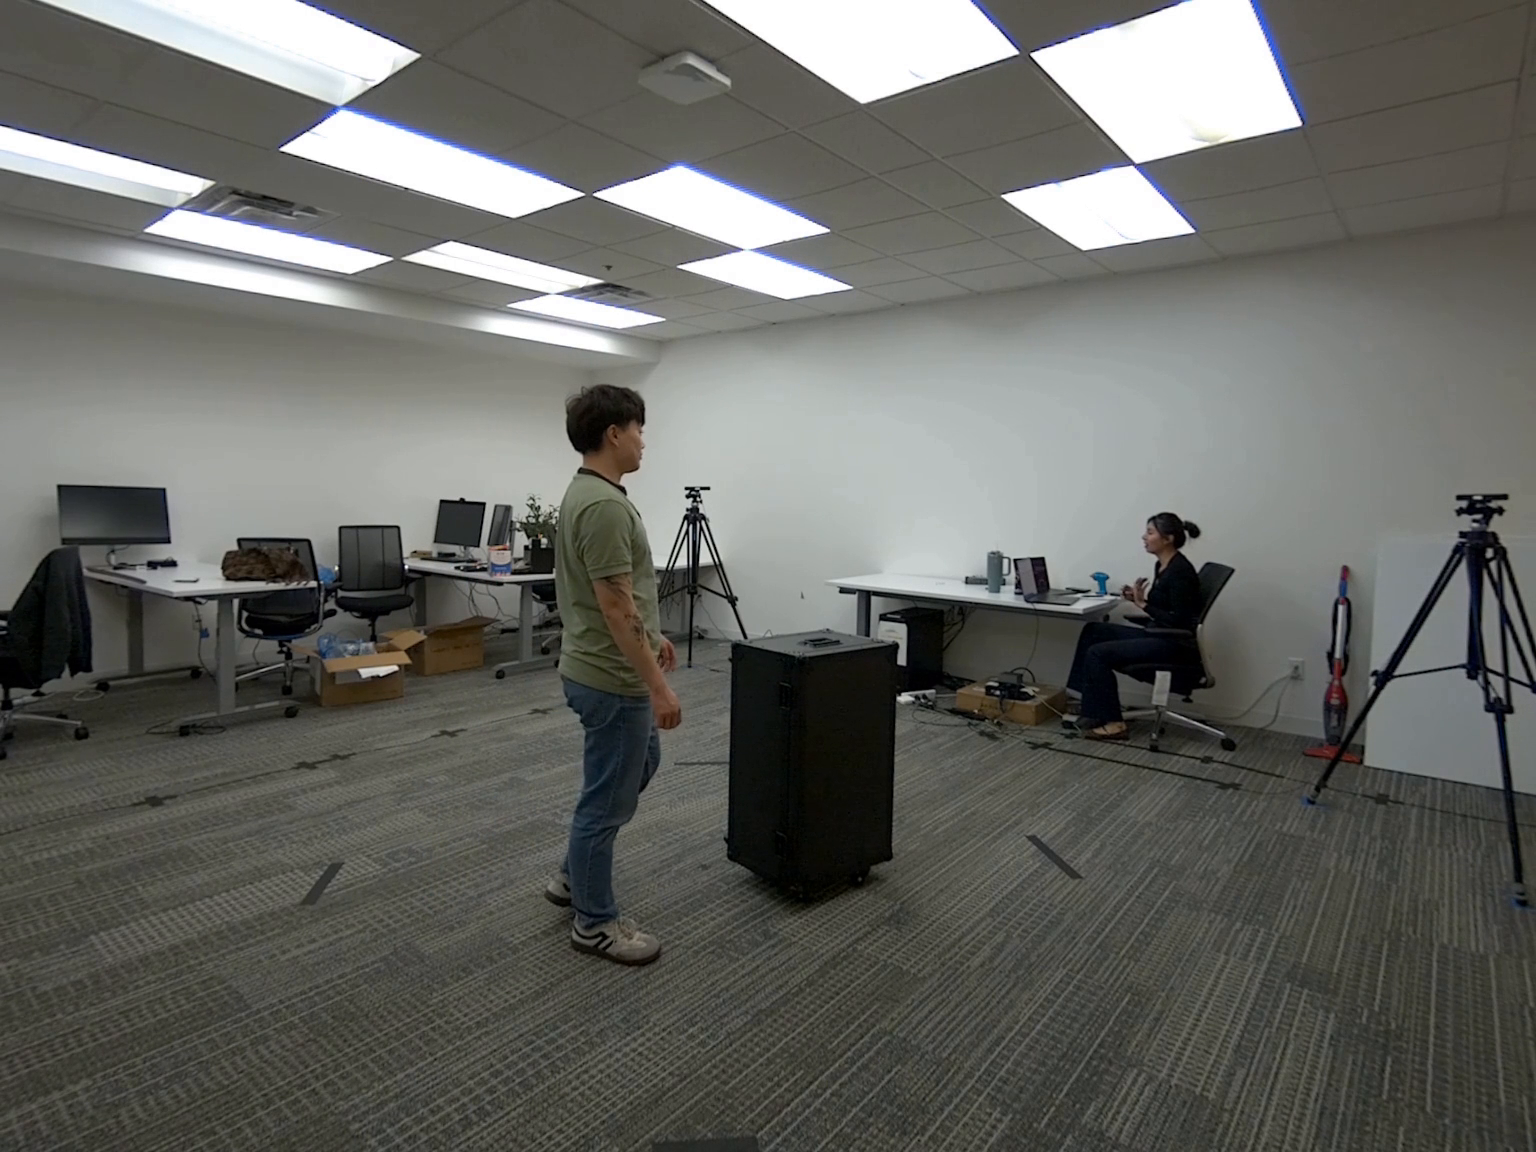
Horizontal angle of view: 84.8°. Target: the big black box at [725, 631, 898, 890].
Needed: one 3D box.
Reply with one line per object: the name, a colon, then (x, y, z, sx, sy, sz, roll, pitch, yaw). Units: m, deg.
big black box: (0.139, 0.654, 3.026, 0.505, 0.859, 0.409, -2, 4, -40)
